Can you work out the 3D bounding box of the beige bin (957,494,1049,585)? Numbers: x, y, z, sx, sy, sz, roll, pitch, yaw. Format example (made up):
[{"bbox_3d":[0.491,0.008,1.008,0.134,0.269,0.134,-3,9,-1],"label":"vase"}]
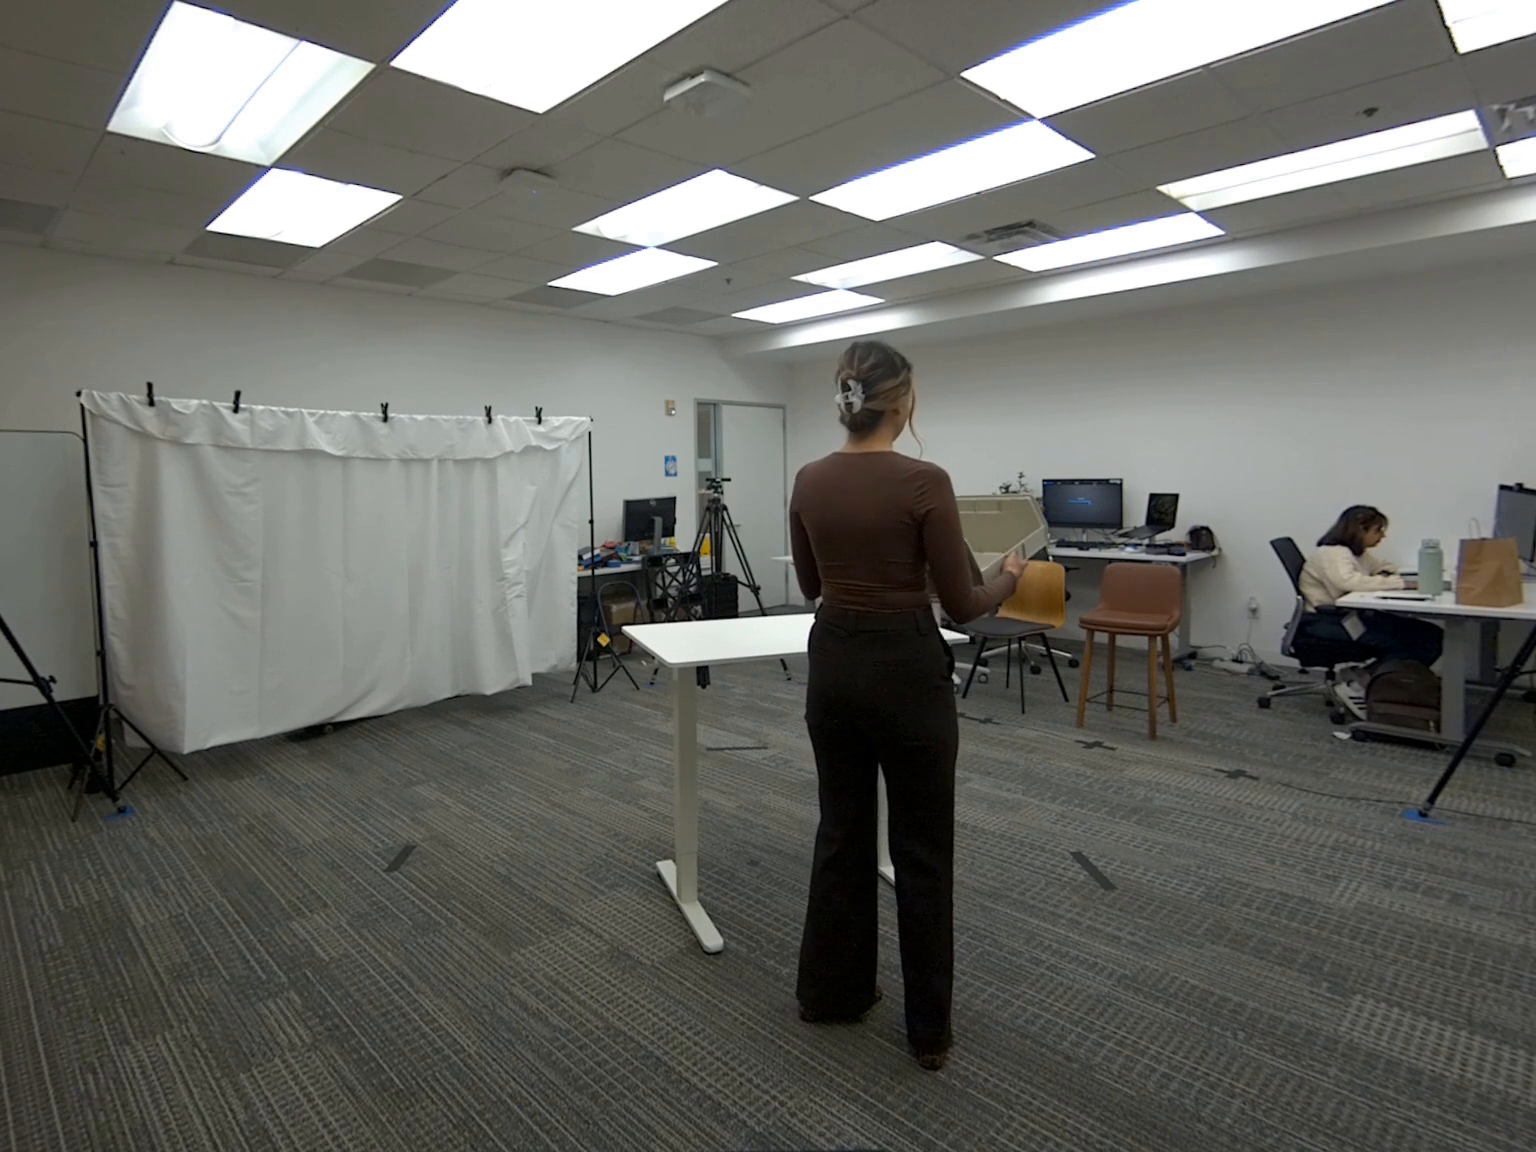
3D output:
[{"bbox_3d":[0.507,-0.082,2.361,0.388,0.186,0.416,1,19,43],"label":"beige bin"}]
